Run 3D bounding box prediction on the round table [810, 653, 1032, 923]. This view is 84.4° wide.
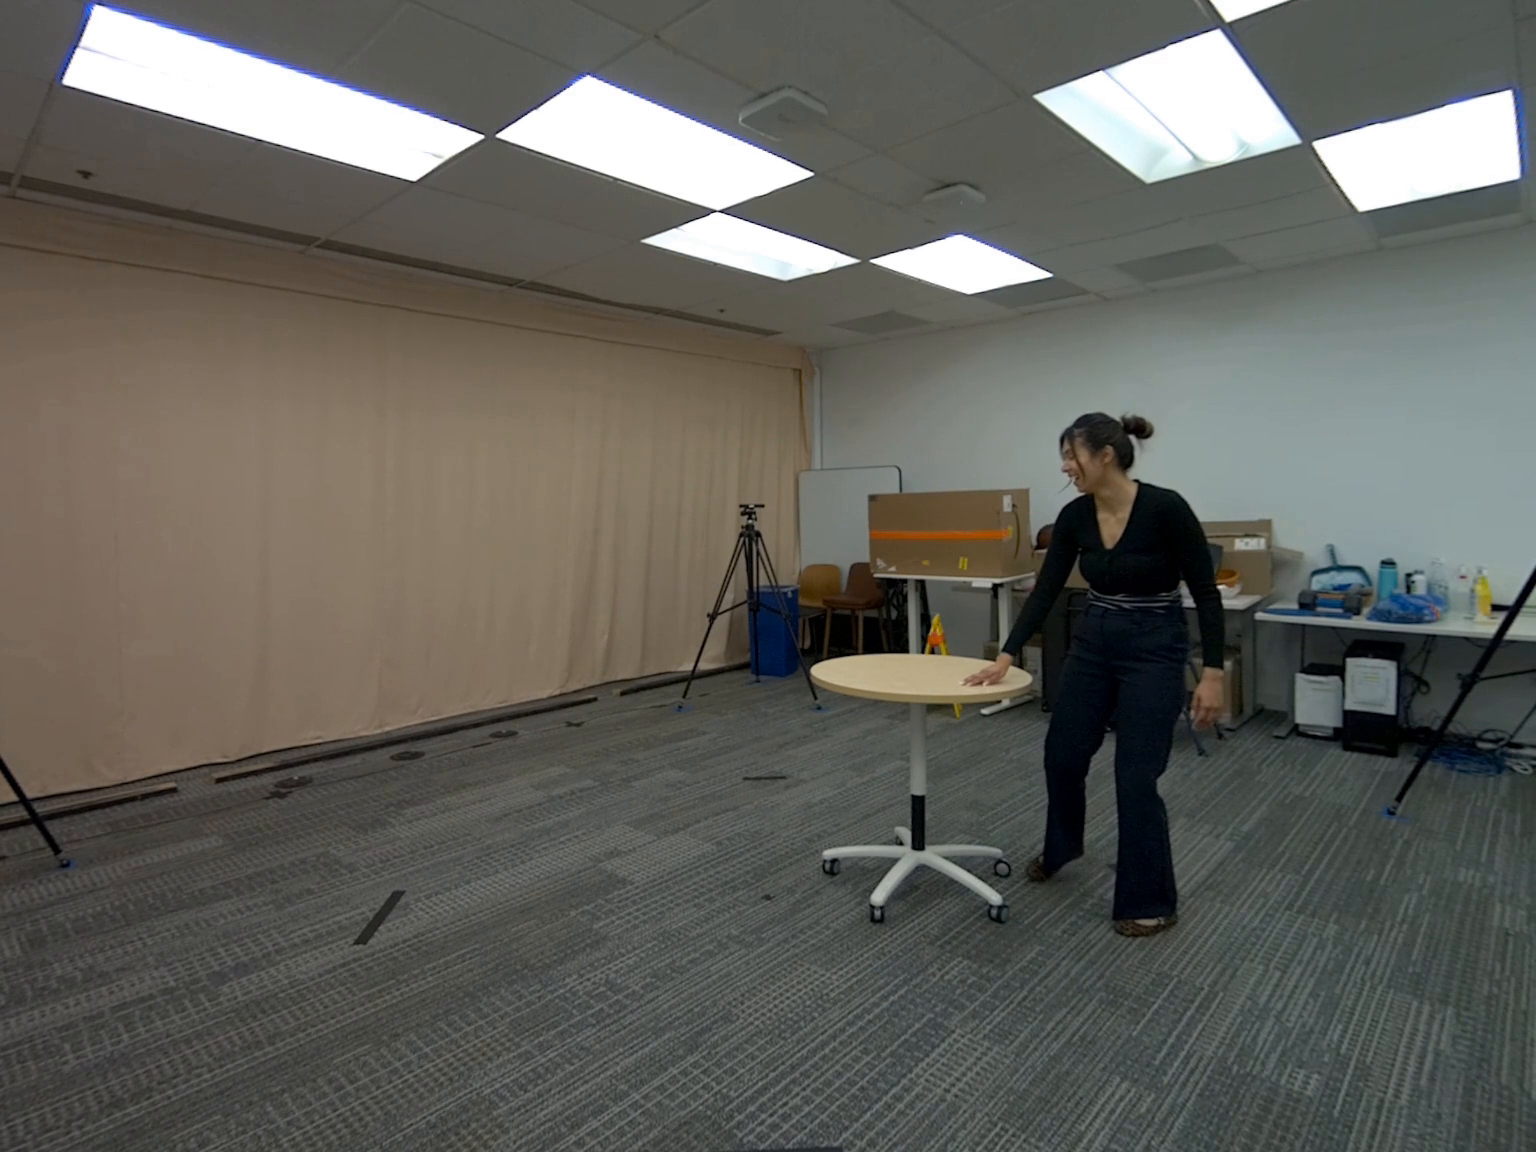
[{"bbox_3d":[0.544,0.737,3.023,0.763,0.792,0.766,0,4,-2],"label":"round table"}]
